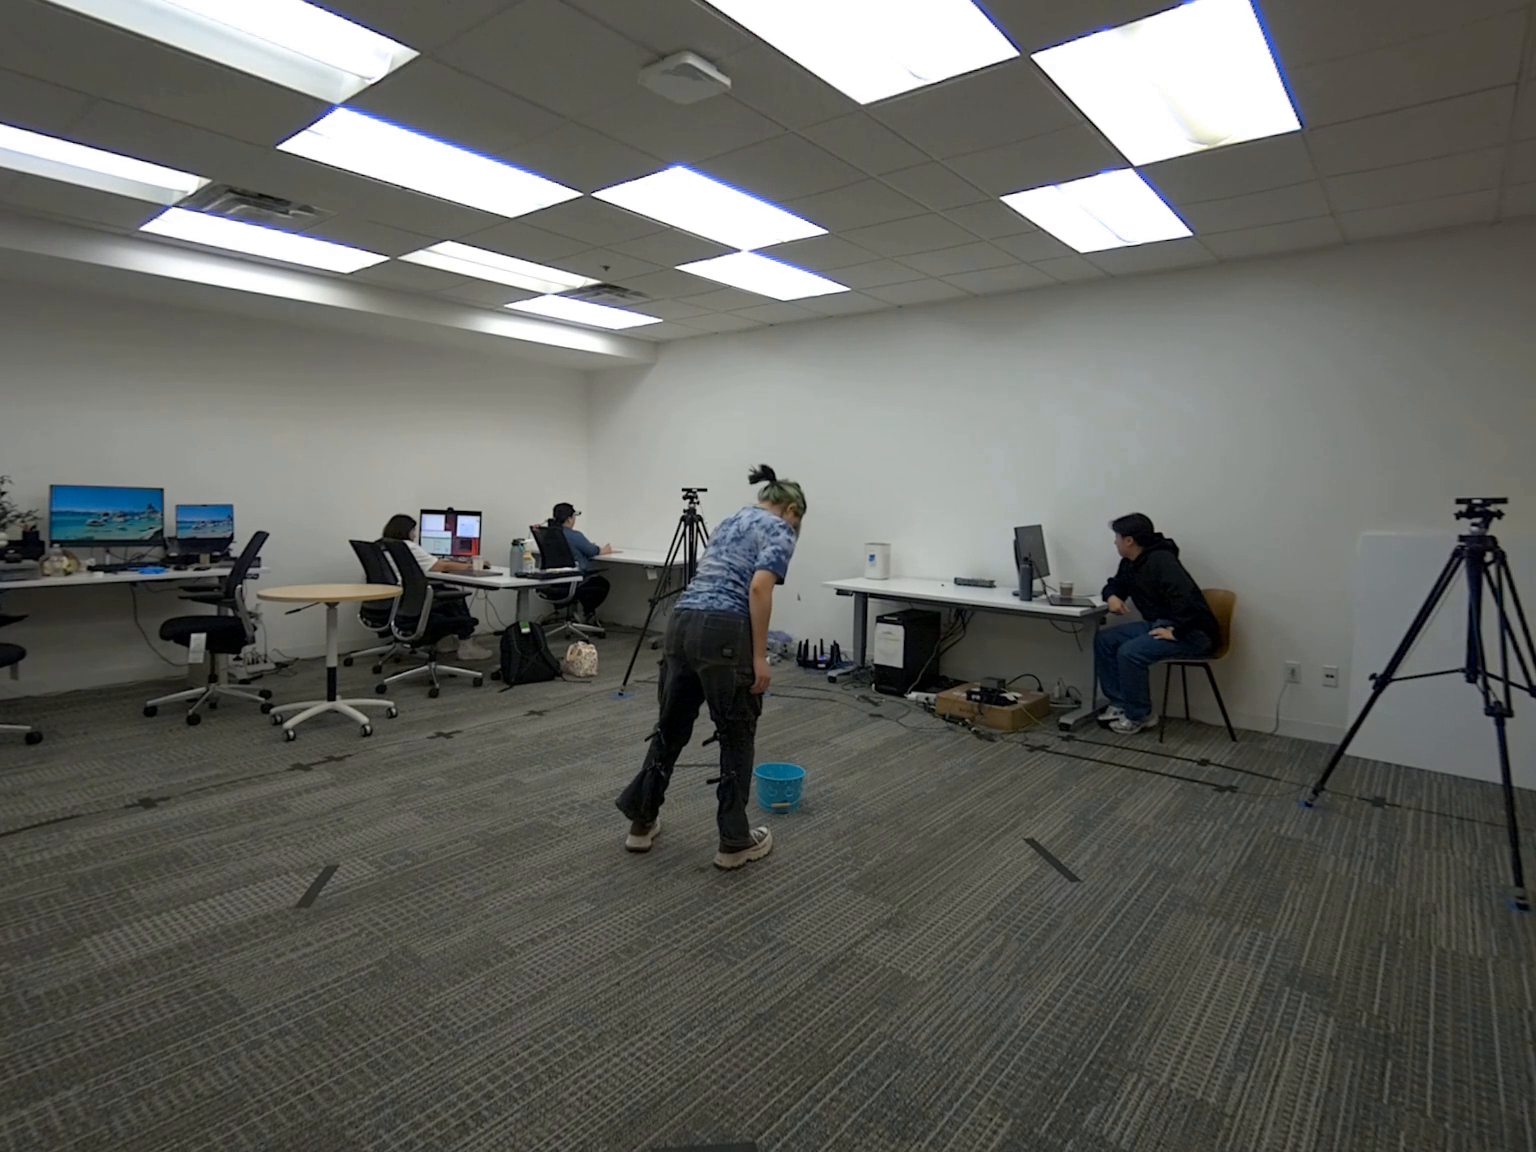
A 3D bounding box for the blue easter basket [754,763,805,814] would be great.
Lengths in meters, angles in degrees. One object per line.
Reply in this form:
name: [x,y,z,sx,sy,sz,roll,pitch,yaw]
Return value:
blue easter basket: [0.035,0.930,3.765,0.243,0.155,0.245,1,5,-2]
